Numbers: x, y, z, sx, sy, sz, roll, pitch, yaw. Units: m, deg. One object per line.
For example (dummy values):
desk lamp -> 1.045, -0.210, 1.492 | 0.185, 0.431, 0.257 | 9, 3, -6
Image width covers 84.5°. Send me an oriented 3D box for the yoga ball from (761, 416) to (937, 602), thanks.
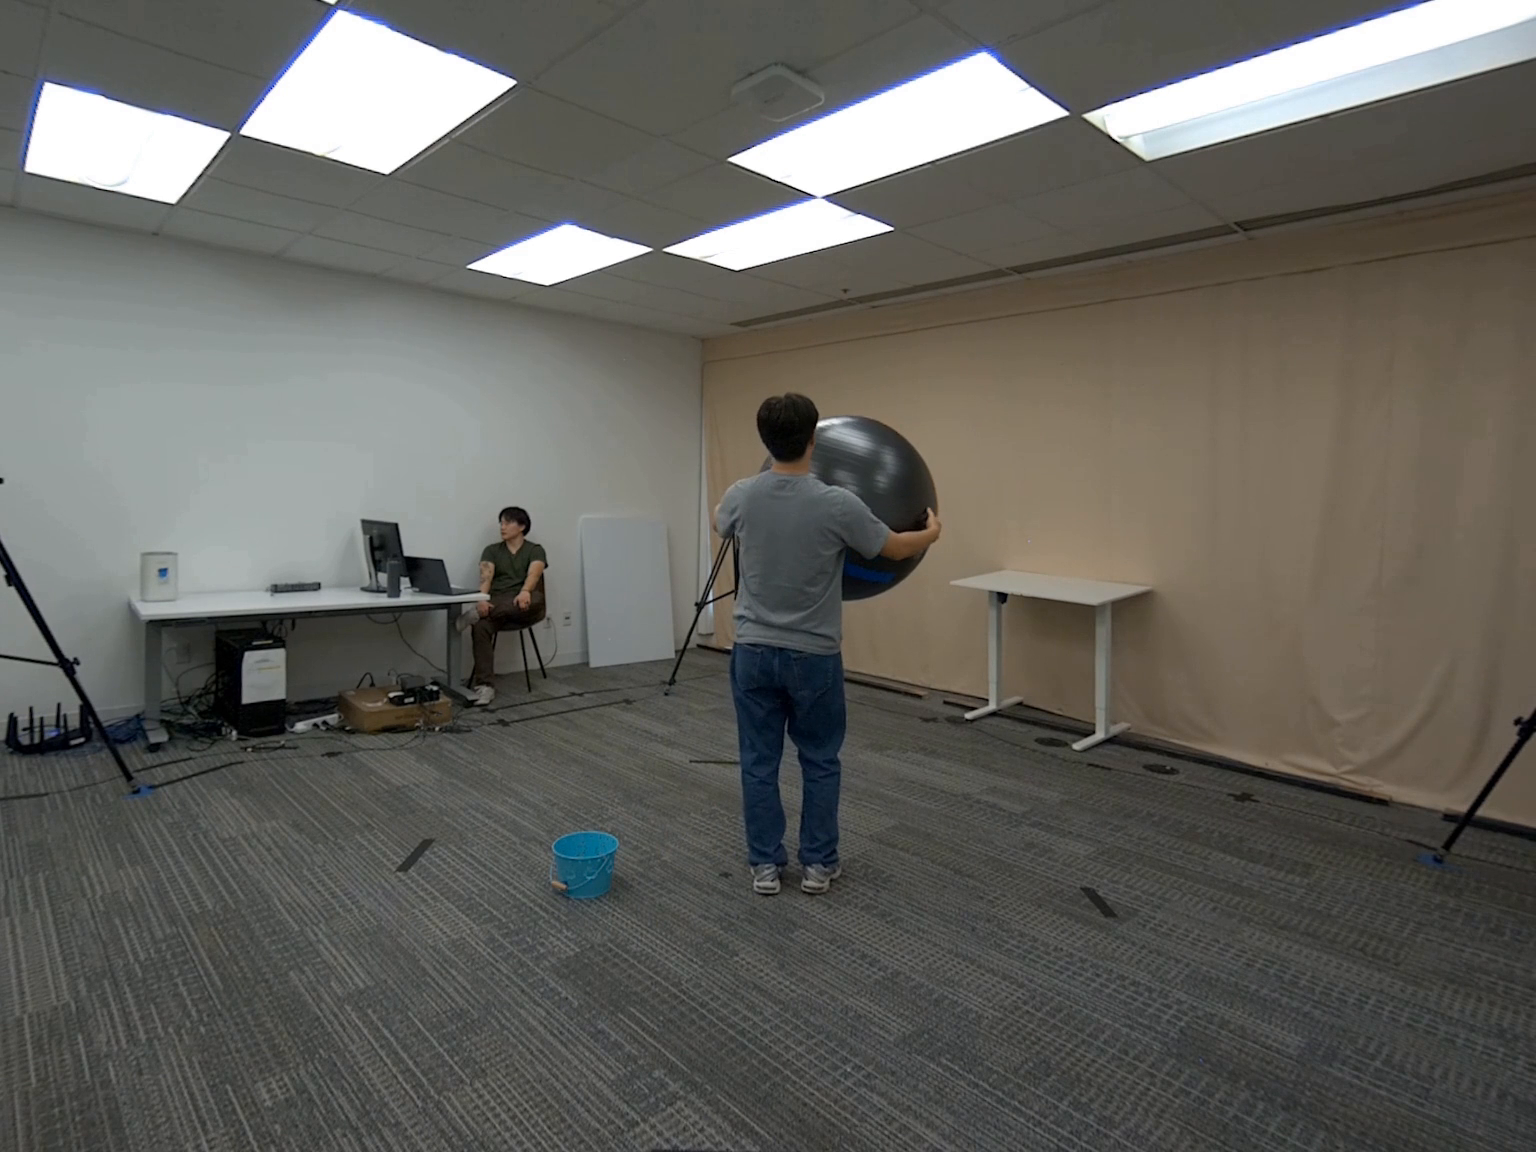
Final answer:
yoga ball -> 0.314, -0.270, 3.480 | 0.757, 0.756, 0.761 | 1, 4, -1
